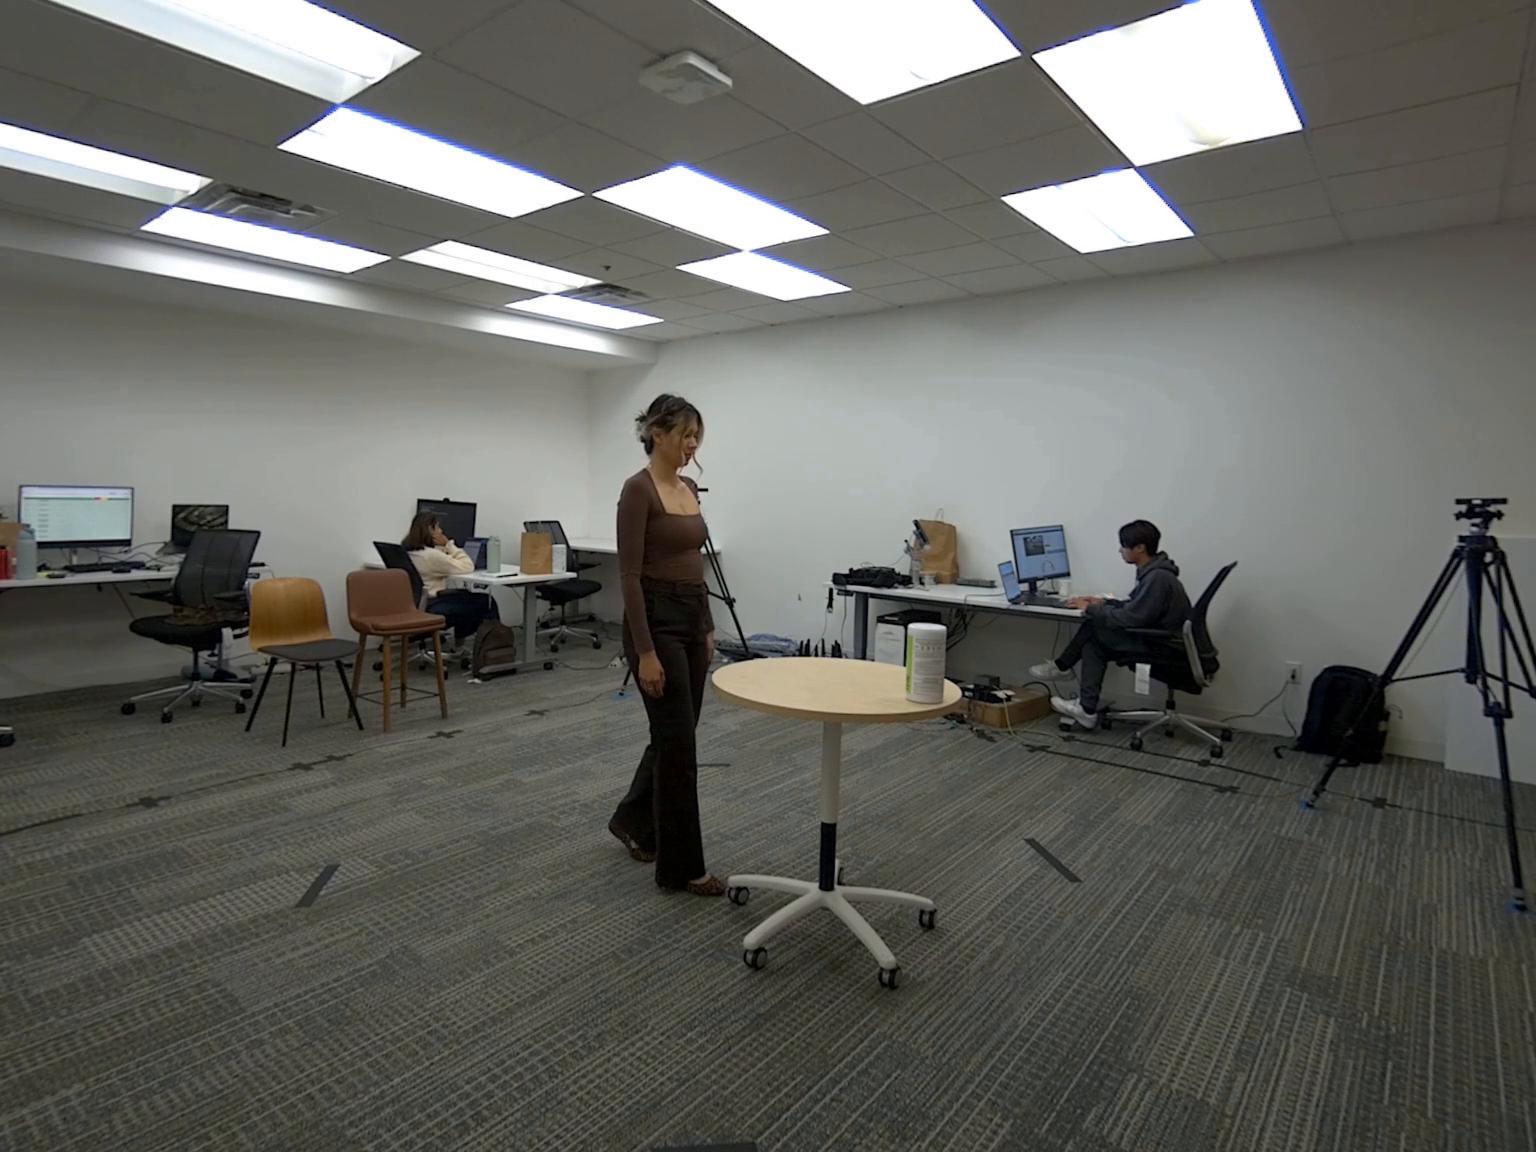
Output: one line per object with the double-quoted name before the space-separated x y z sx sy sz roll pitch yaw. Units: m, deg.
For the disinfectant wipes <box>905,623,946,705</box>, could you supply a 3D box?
"disinfectant wipes" 0.456 0.252 2.441 0.117 0.217 0.118 2 4 -2
